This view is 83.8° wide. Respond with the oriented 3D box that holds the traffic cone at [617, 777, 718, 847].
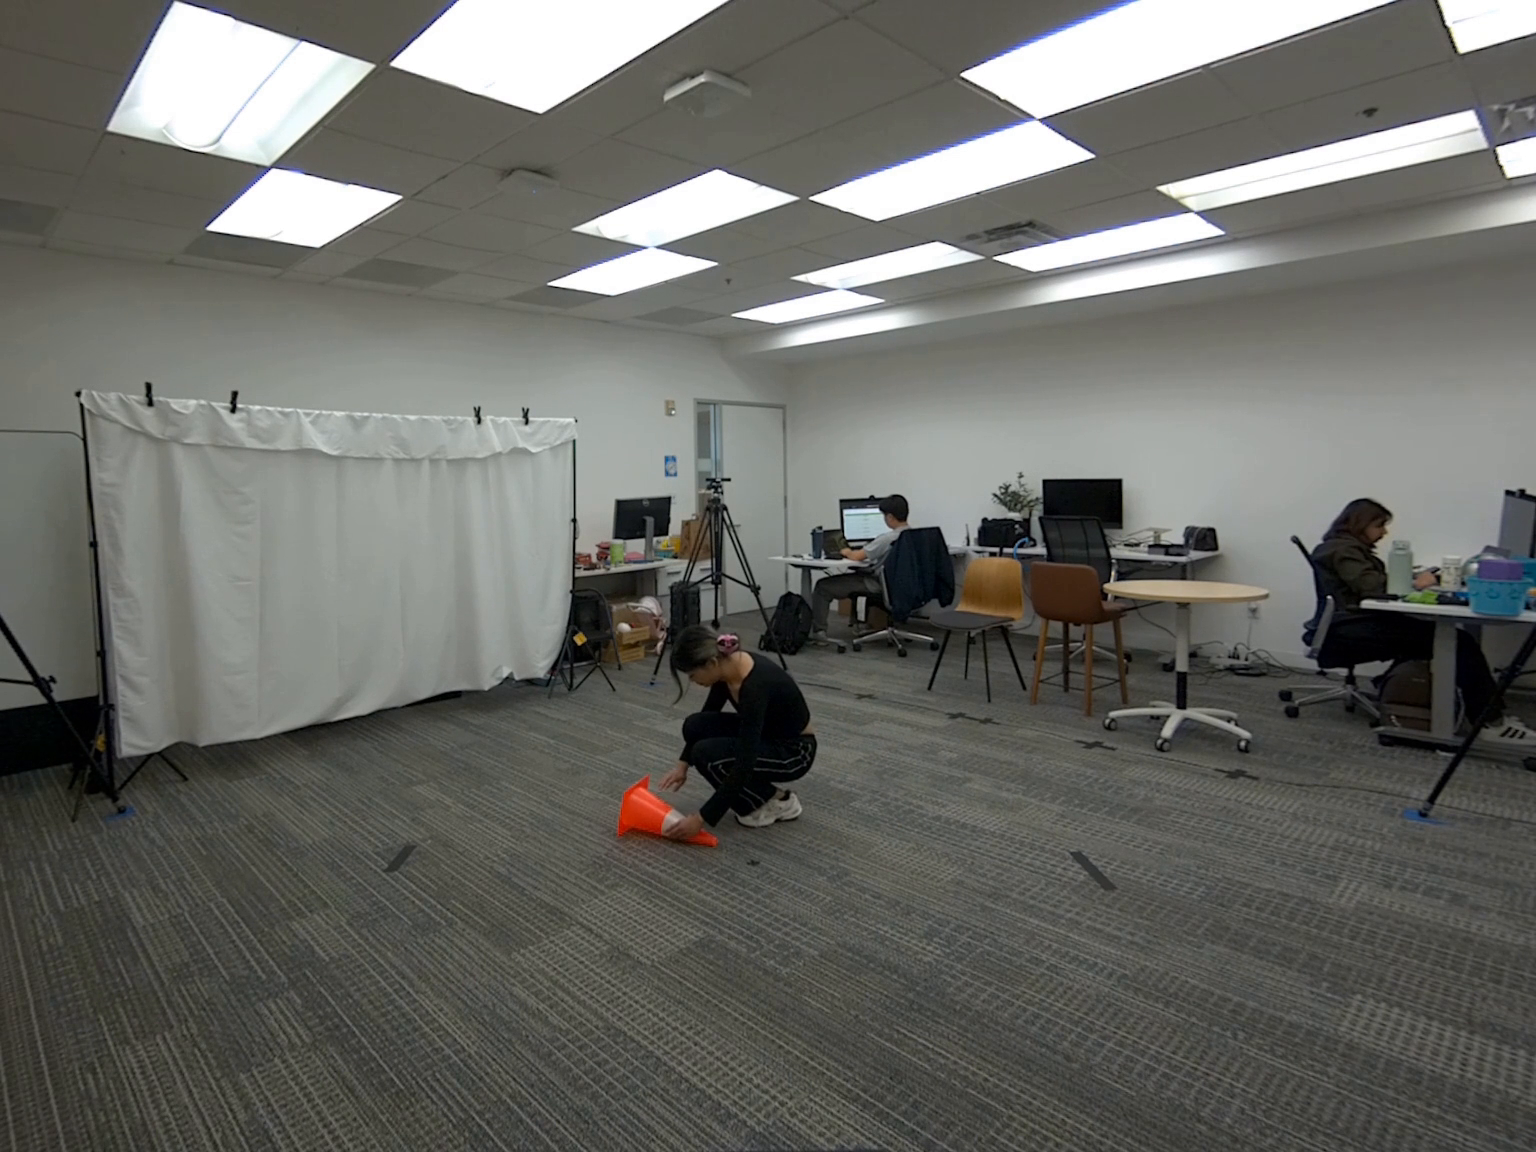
[{"bbox_3d":[-0.363,0.957,3.336,0.394,0.203,0.200,14,14,25],"label":"traffic cone"}]
